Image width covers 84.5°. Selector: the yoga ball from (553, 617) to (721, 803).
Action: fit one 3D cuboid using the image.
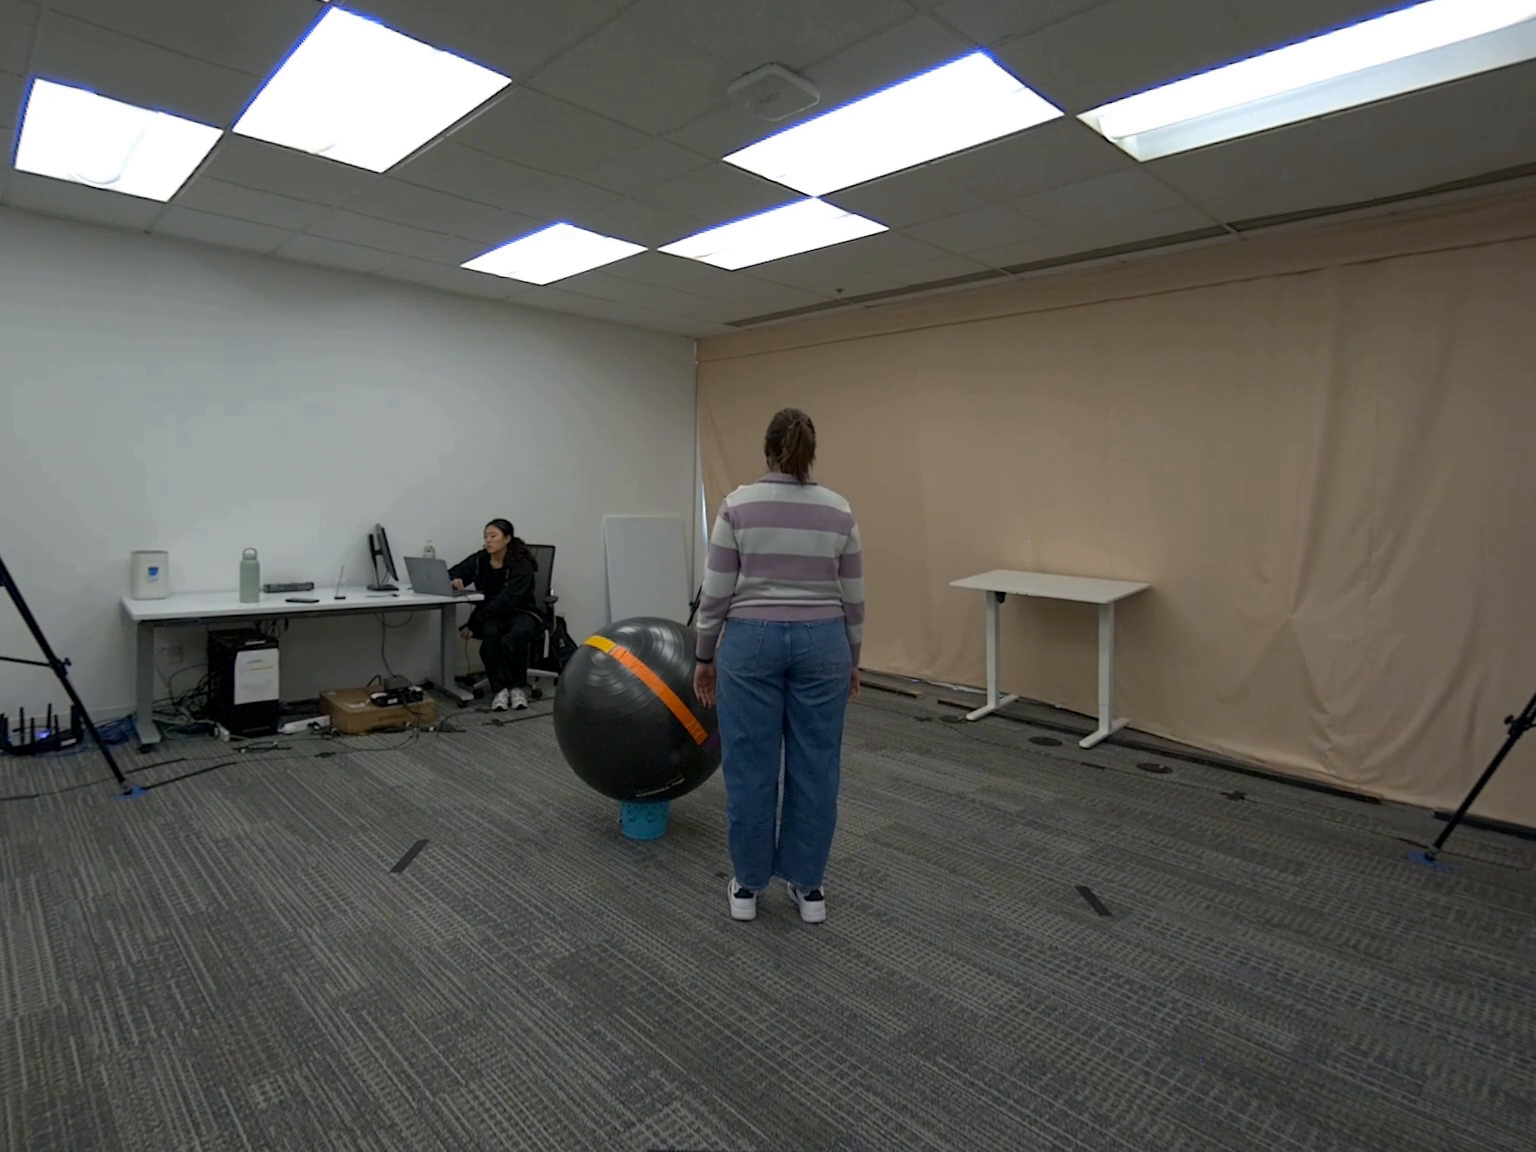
[{"bbox_3d":[-0.516,0.558,3.494,0.757,0.756,0.761,1,4,-1],"label":"yoga ball"}]
